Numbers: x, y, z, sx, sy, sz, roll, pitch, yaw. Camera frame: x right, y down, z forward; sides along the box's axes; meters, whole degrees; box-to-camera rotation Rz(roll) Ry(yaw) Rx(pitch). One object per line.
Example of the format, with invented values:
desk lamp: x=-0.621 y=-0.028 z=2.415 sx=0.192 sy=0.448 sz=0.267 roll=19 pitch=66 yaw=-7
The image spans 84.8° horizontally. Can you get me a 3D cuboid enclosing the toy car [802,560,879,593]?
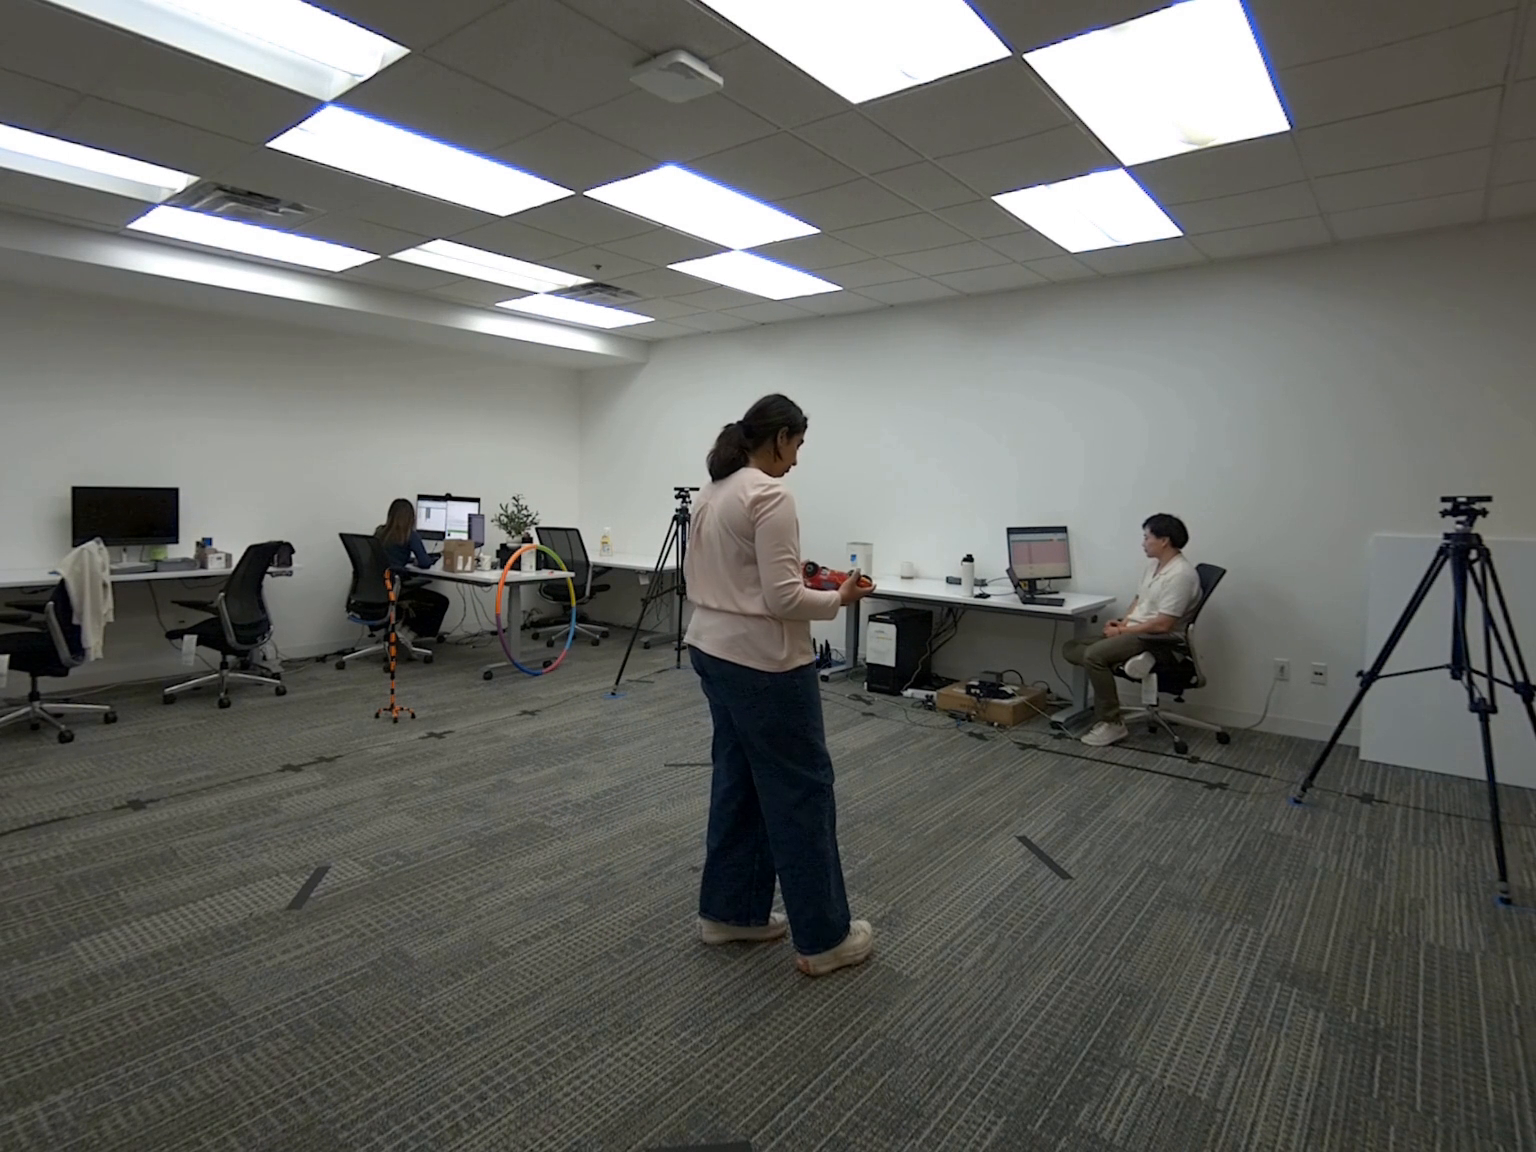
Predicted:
toy car: x=0.203 y=0.001 z=2.660 sx=0.262 sy=0.084 sz=0.126 roll=-1 pitch=-9 yaw=31
